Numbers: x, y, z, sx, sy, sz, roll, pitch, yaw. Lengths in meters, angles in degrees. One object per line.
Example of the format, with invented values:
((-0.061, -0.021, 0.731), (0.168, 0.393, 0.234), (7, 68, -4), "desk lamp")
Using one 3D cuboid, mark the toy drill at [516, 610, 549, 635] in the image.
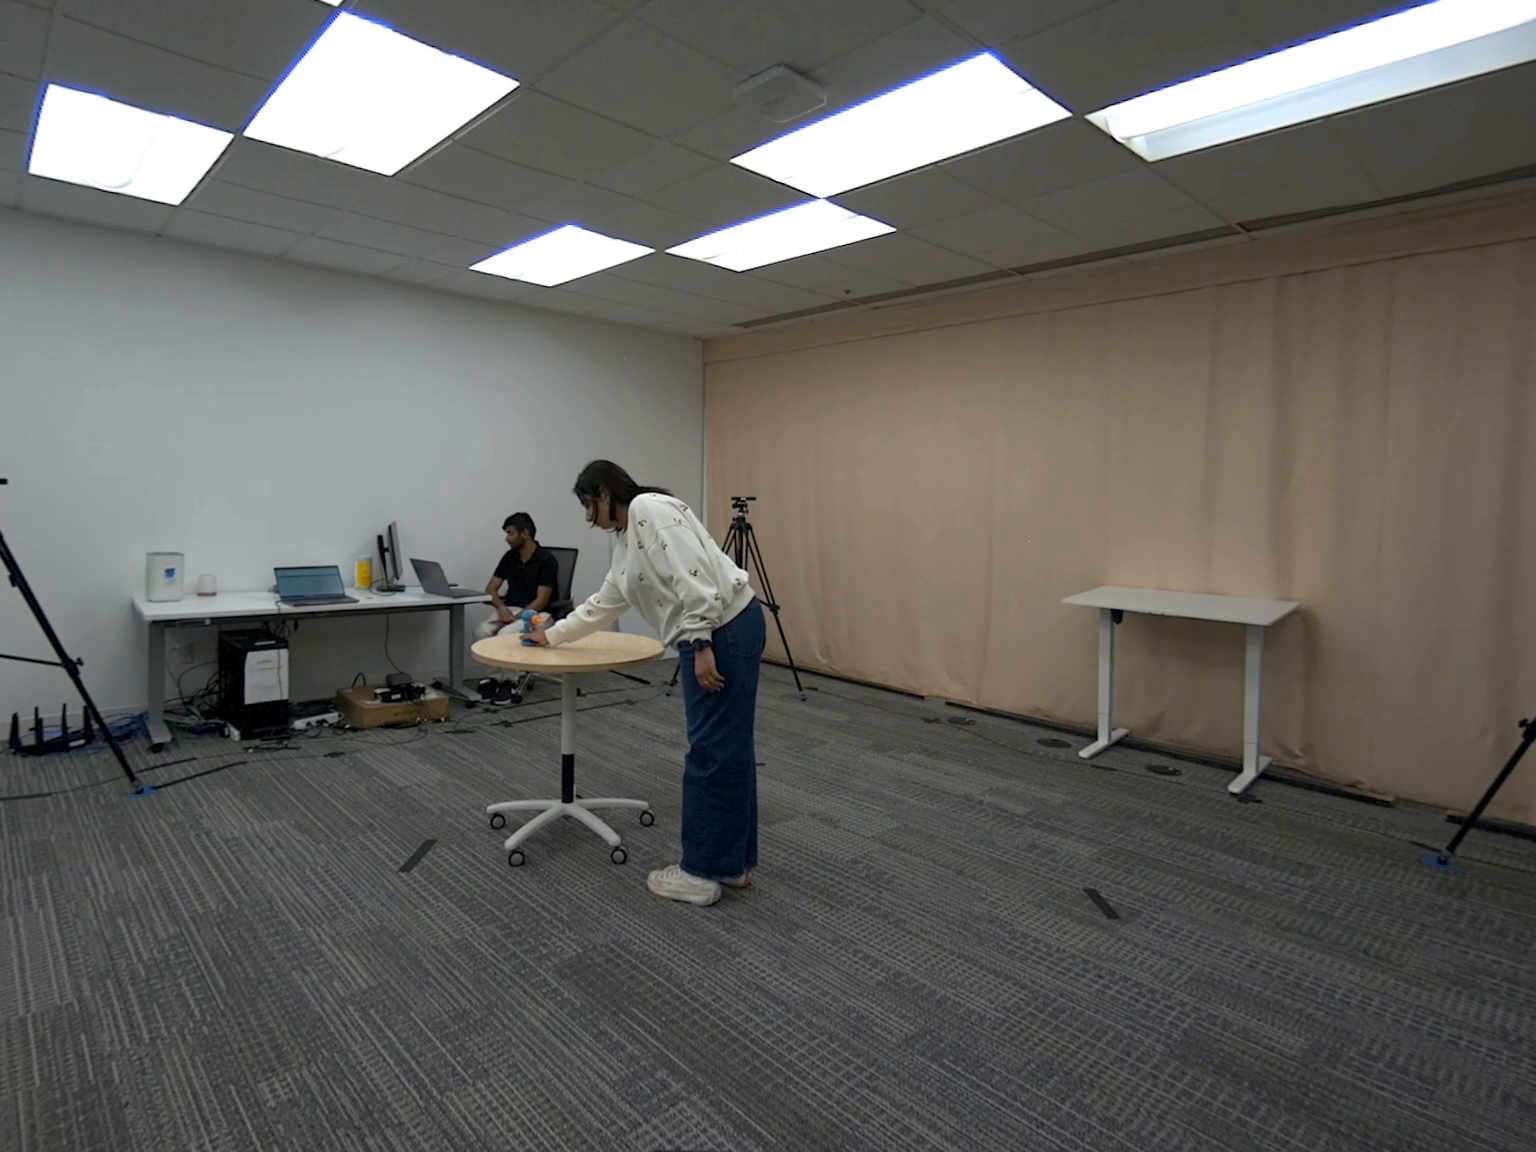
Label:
((-0.949, 0.209, 3.364), (0.174, 0.145, 0.060), (6, 7, 44), "toy drill")
